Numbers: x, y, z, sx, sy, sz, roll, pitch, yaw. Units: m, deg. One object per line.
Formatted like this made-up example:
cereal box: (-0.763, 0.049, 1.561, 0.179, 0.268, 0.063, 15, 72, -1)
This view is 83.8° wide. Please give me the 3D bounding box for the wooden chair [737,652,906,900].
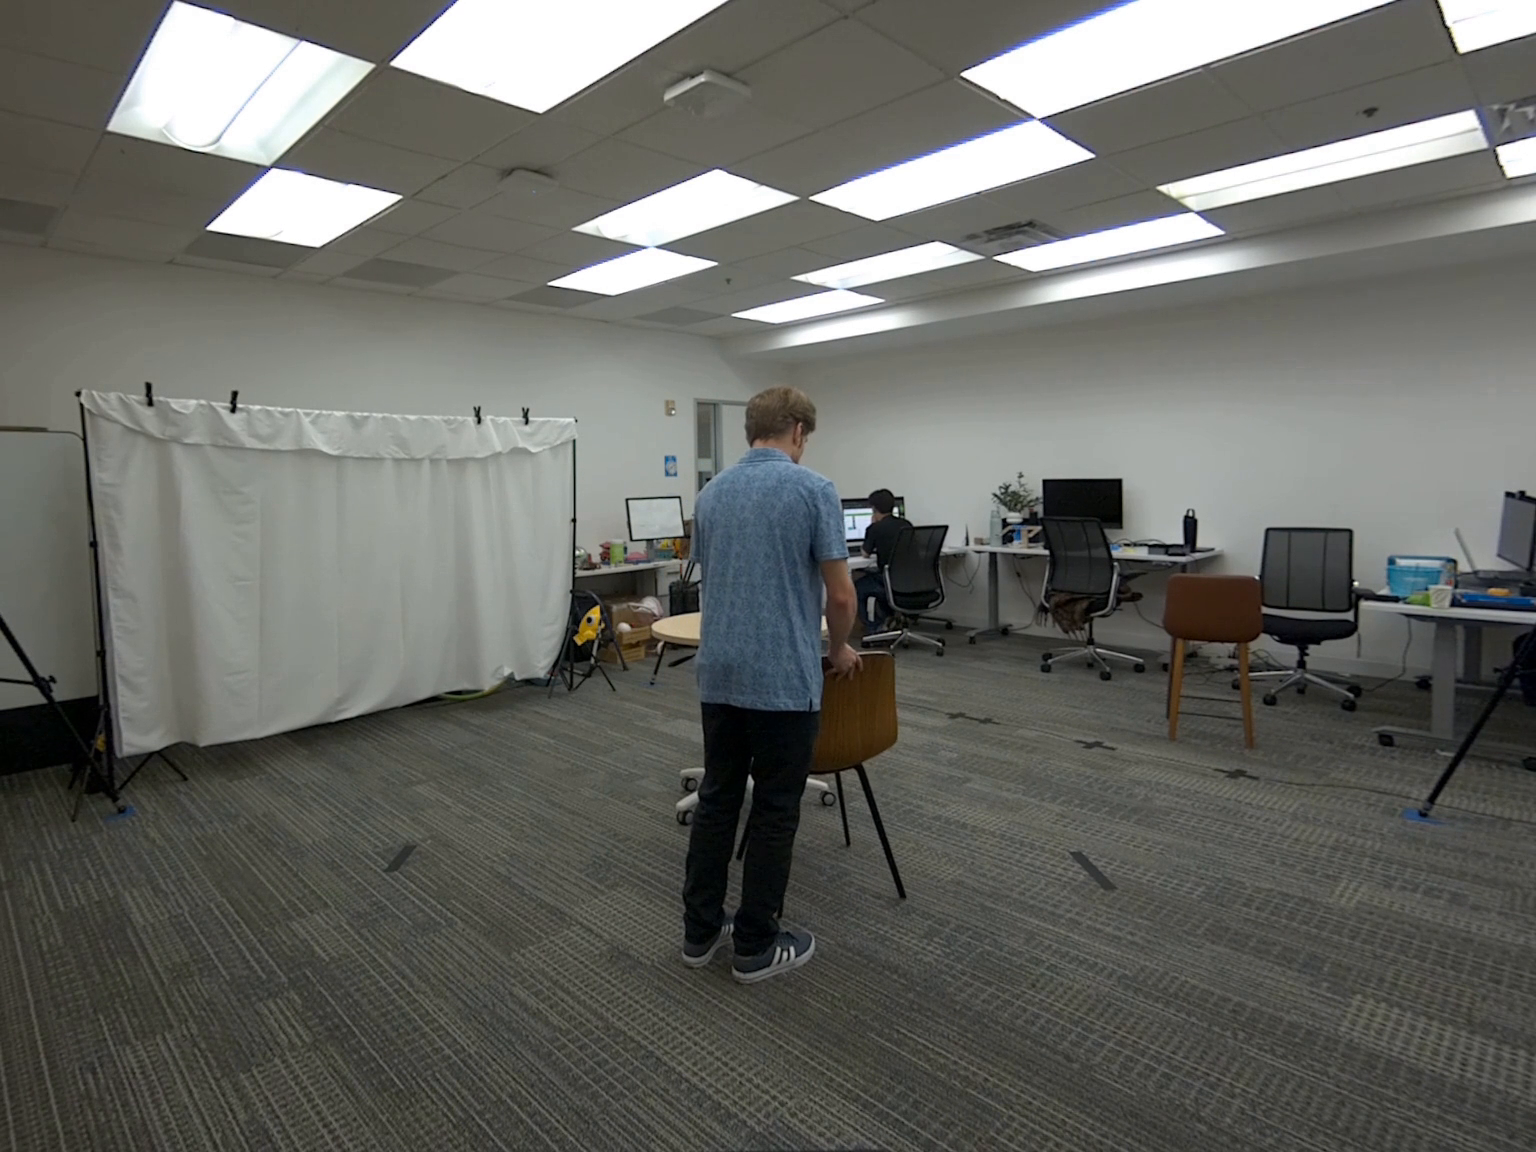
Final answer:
wooden chair: (0.165, 0.631, 2.955, 0.471, 0.871, 0.535, -3, 8, -18)
